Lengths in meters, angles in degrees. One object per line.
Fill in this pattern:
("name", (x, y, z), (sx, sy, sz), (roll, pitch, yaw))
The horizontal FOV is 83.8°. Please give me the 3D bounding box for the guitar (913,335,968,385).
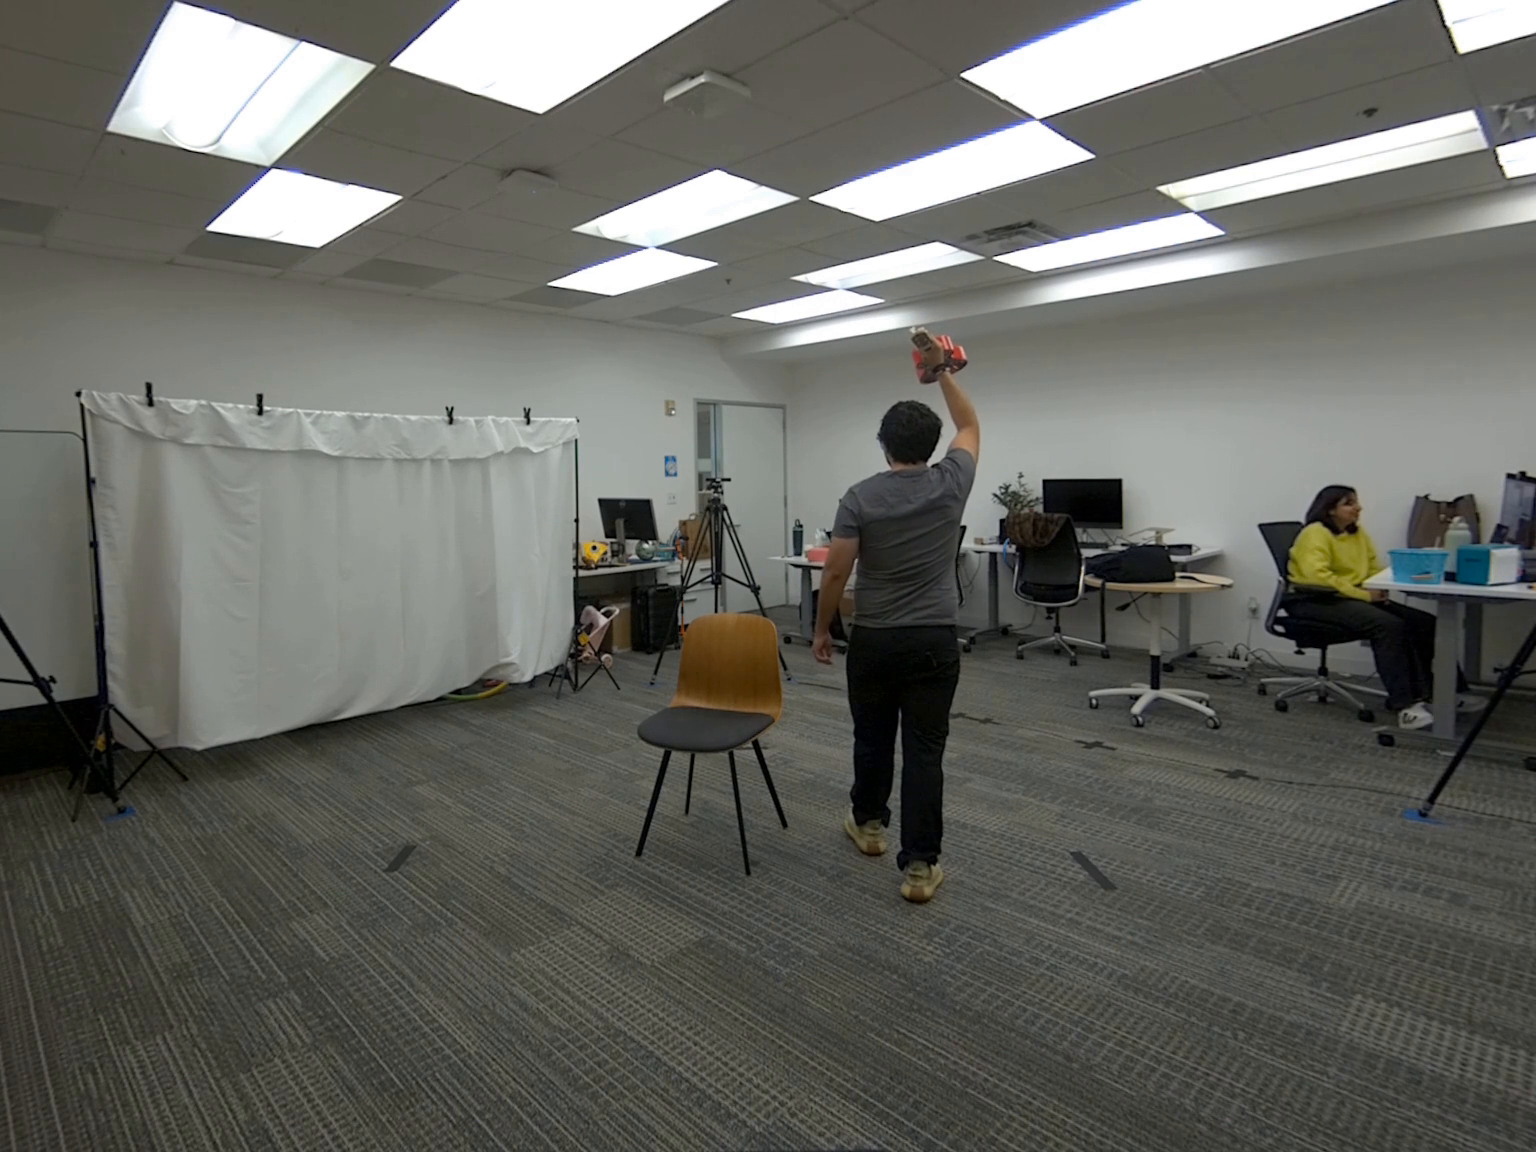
("guitar", (0.634, -0.846, 3.142), (0.194, 0.072, 0.486), (-20, -13, 11))
